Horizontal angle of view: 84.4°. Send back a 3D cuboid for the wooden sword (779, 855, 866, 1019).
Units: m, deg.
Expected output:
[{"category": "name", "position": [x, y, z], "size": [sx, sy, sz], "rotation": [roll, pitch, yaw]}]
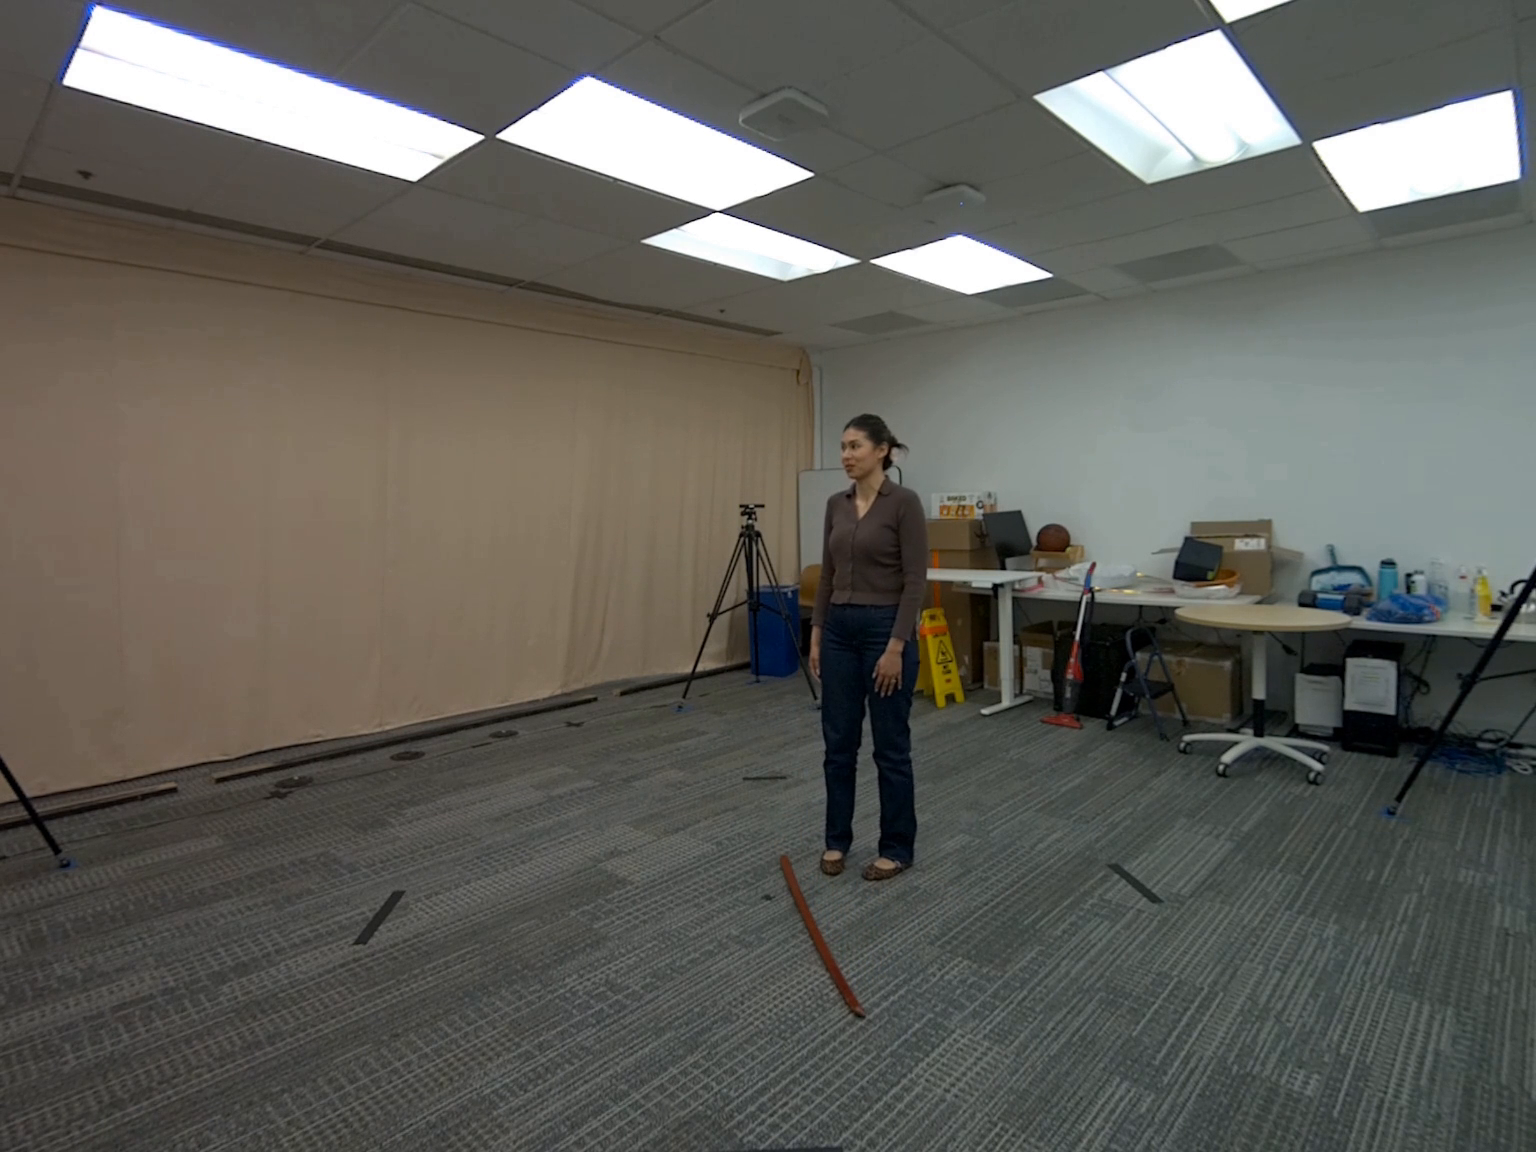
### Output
[{"category": "wooden sword", "position": [0.157, 1.128, 2.775], "size": [0.051, 0.024, 1.037], "rotation": [16, 1, -11]}]
